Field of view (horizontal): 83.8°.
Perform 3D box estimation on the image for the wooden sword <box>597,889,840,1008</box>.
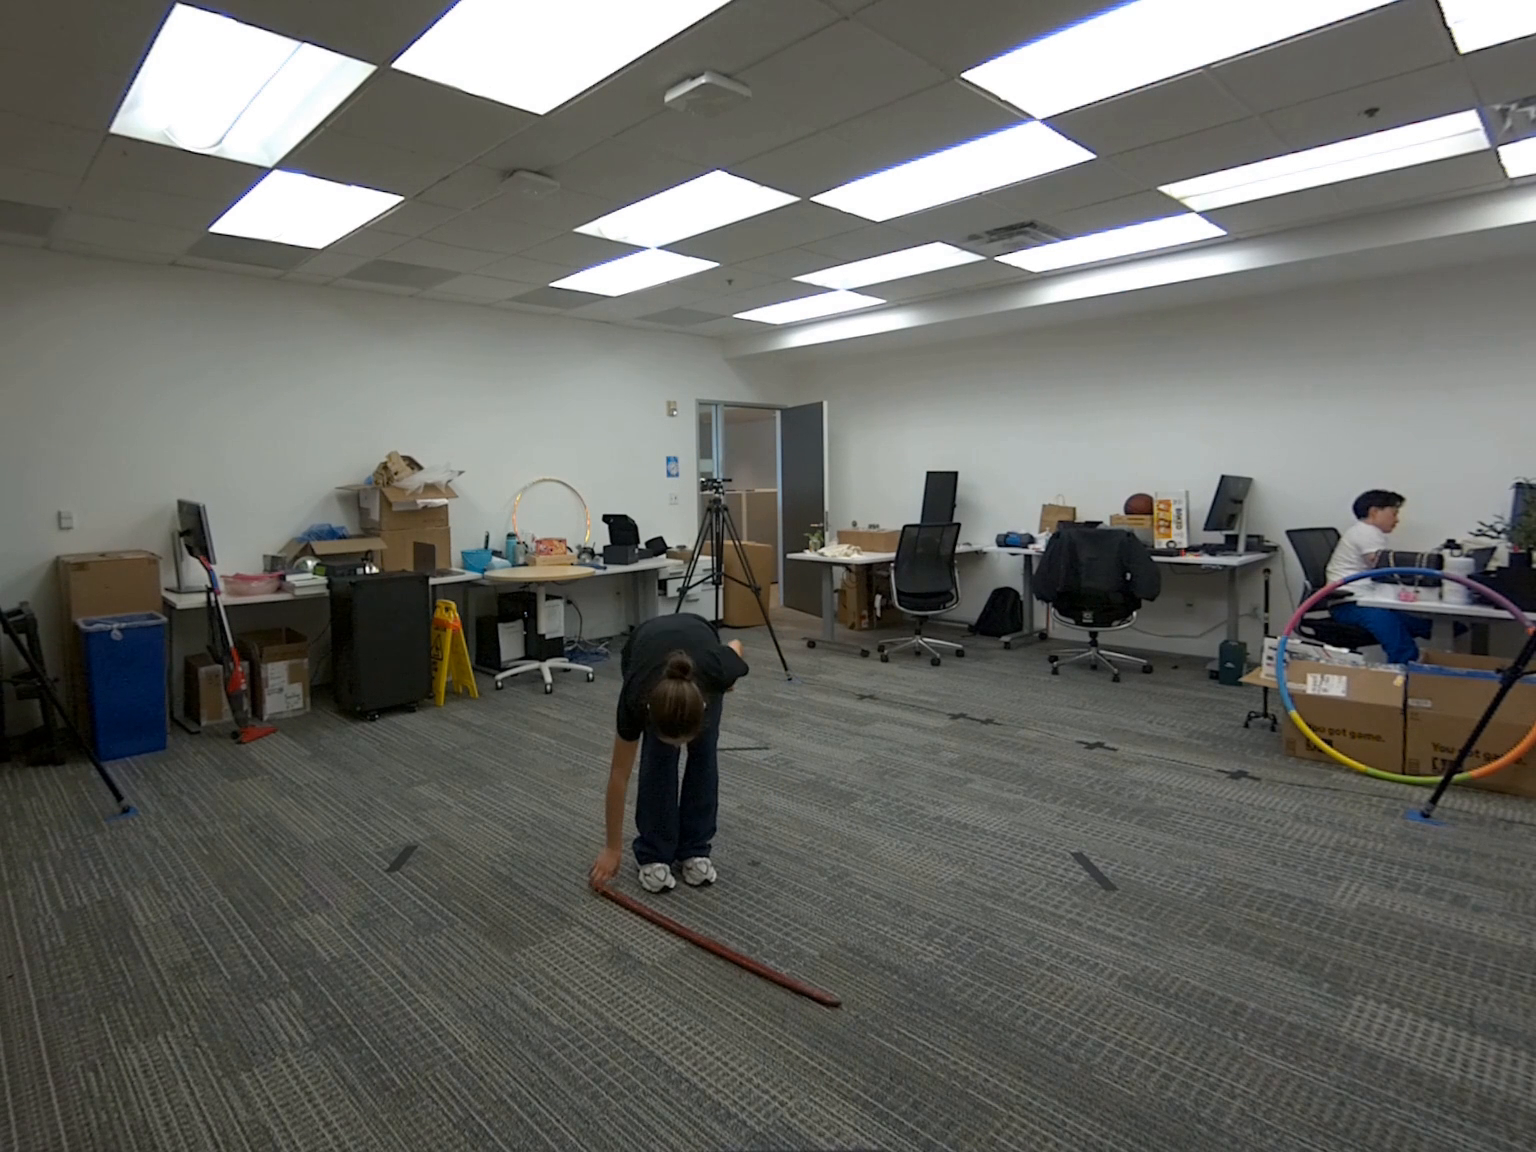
[{"bbox_3d":[-0.218,1.081,2.617,1.057,0.024,0.050,6,12,41],"label":"wooden sword"}]
